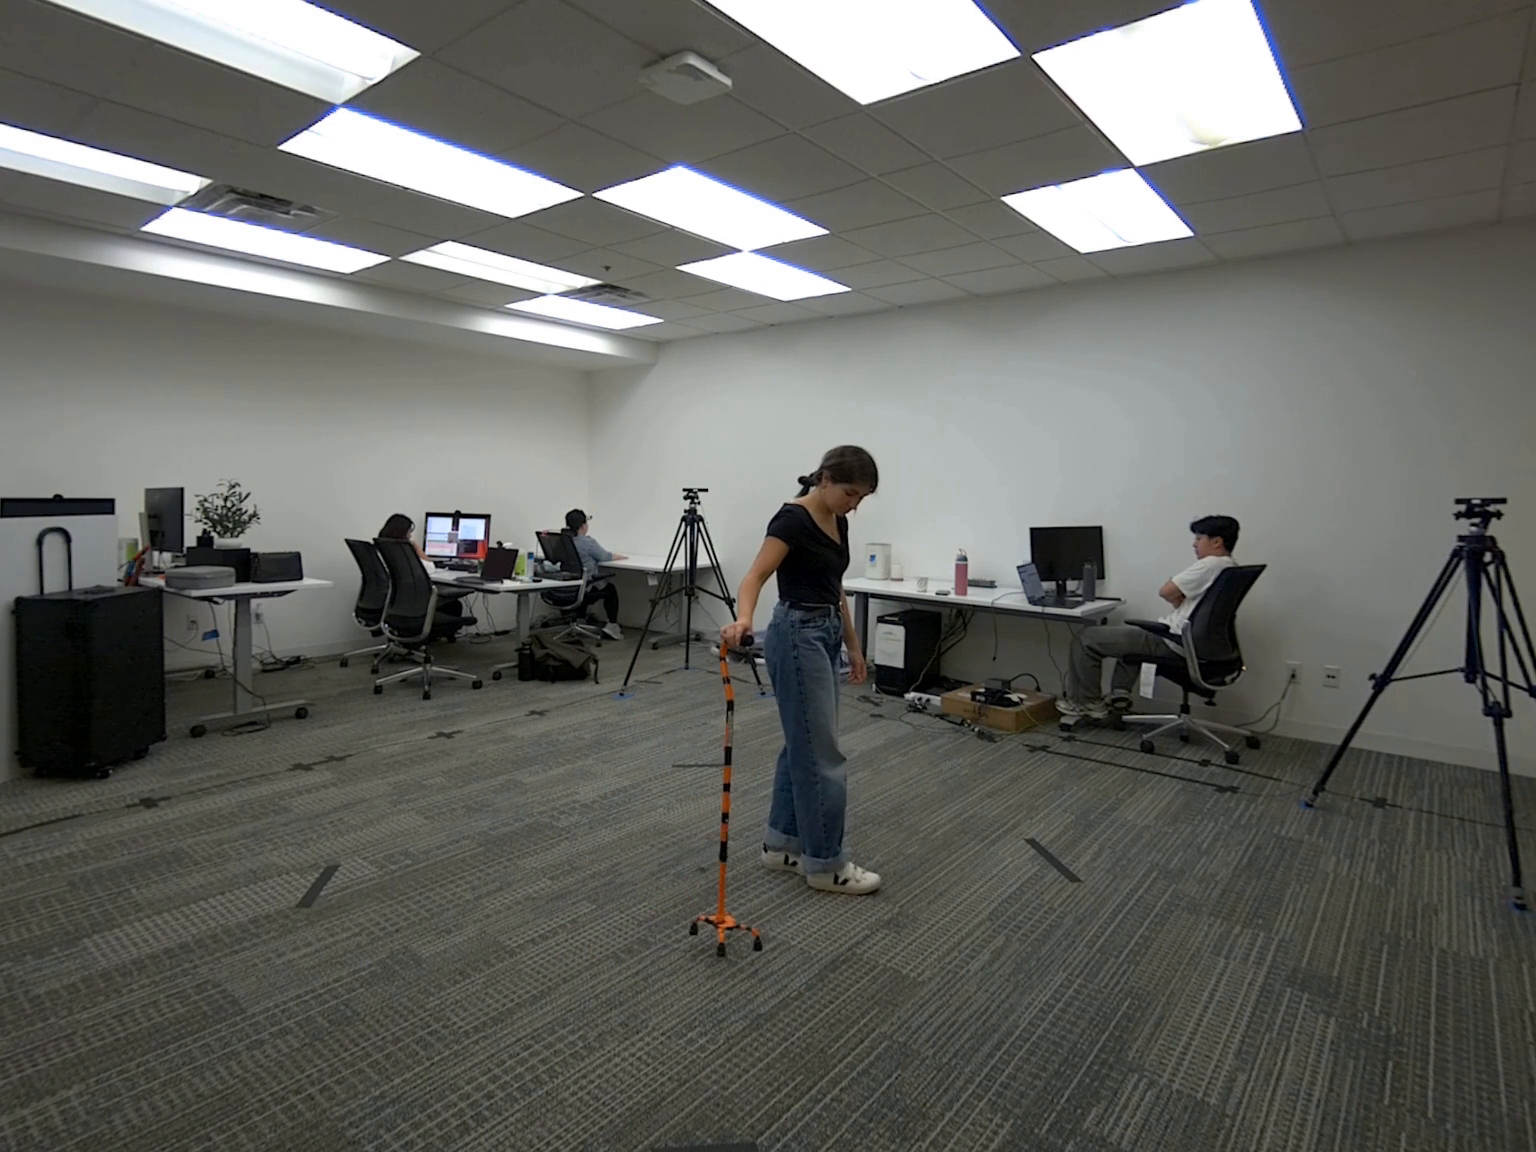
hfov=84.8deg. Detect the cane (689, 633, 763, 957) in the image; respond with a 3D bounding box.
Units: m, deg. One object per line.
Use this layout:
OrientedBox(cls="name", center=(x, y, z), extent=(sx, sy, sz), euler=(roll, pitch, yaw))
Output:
OrientedBox(cls="cane", center=(-0.107, 0.636, 2.576), extent=(0.147, 0.912, 0.211), euler=(4, -5, -28))
